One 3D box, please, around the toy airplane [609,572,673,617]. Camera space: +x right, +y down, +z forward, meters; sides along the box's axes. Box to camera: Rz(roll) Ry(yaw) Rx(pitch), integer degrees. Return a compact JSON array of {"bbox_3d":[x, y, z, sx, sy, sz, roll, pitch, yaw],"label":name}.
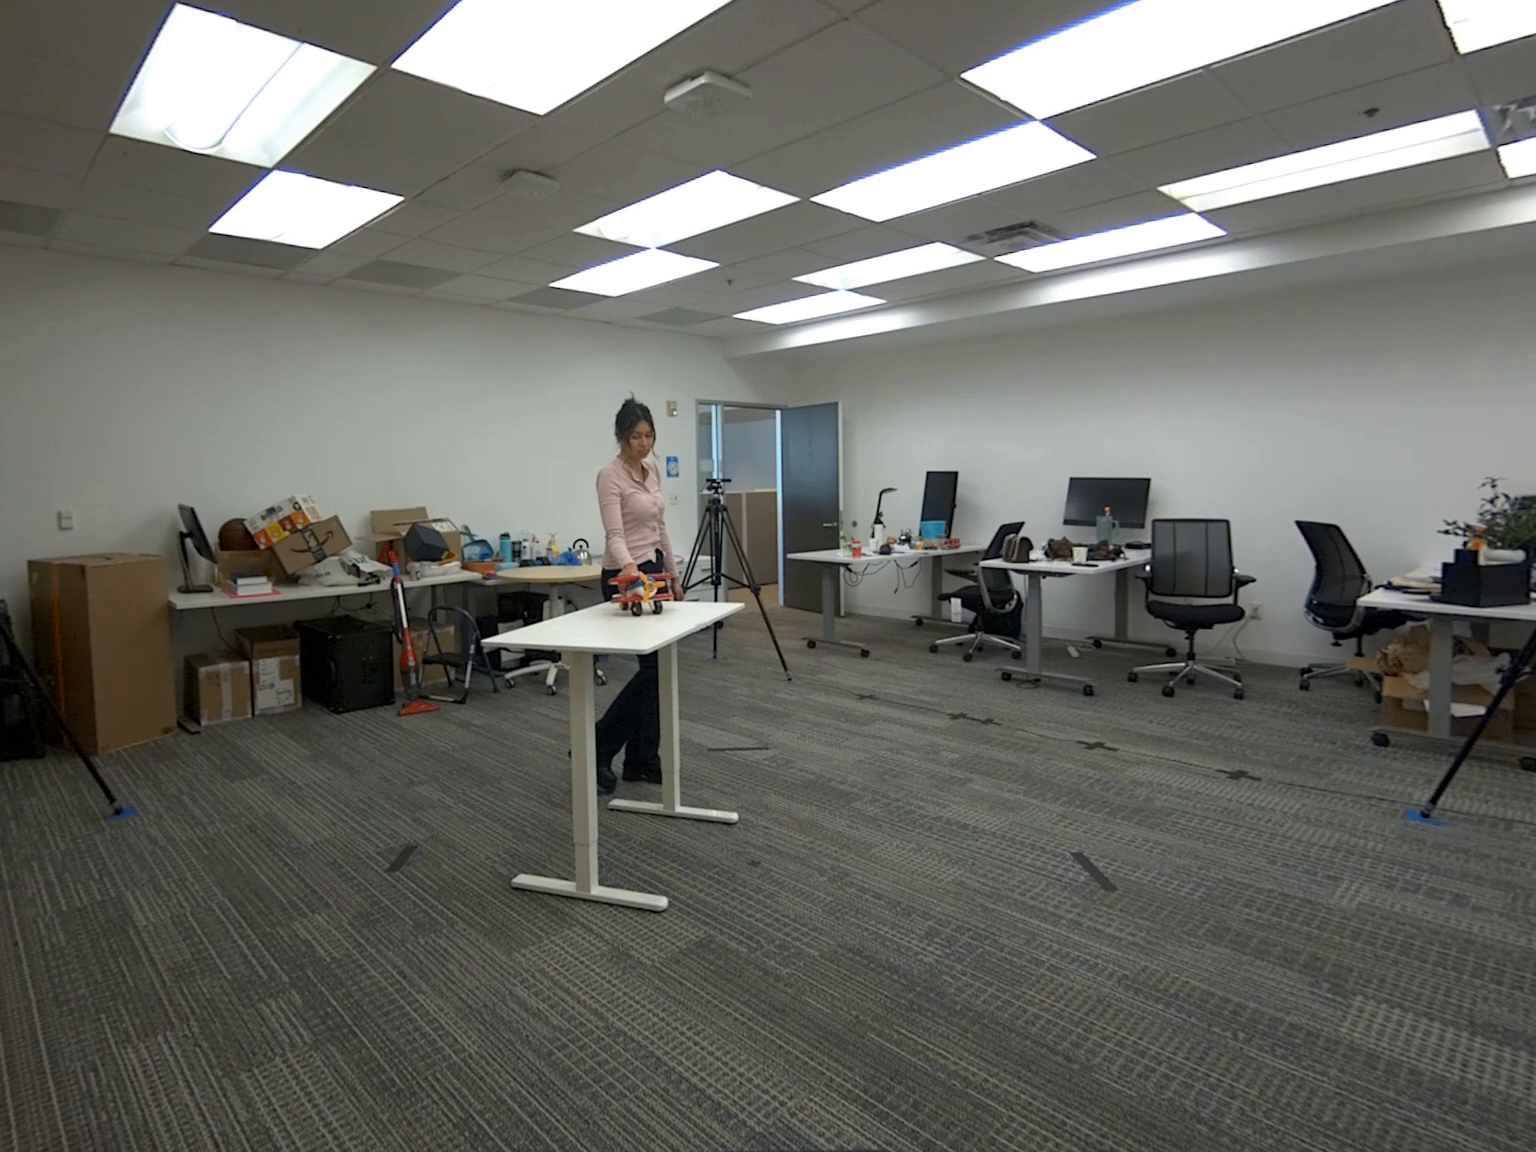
[{"bbox_3d":[-0.524,0.070,3.346,0.266,0.156,0.245,4,5,31],"label":"toy airplane"}]
